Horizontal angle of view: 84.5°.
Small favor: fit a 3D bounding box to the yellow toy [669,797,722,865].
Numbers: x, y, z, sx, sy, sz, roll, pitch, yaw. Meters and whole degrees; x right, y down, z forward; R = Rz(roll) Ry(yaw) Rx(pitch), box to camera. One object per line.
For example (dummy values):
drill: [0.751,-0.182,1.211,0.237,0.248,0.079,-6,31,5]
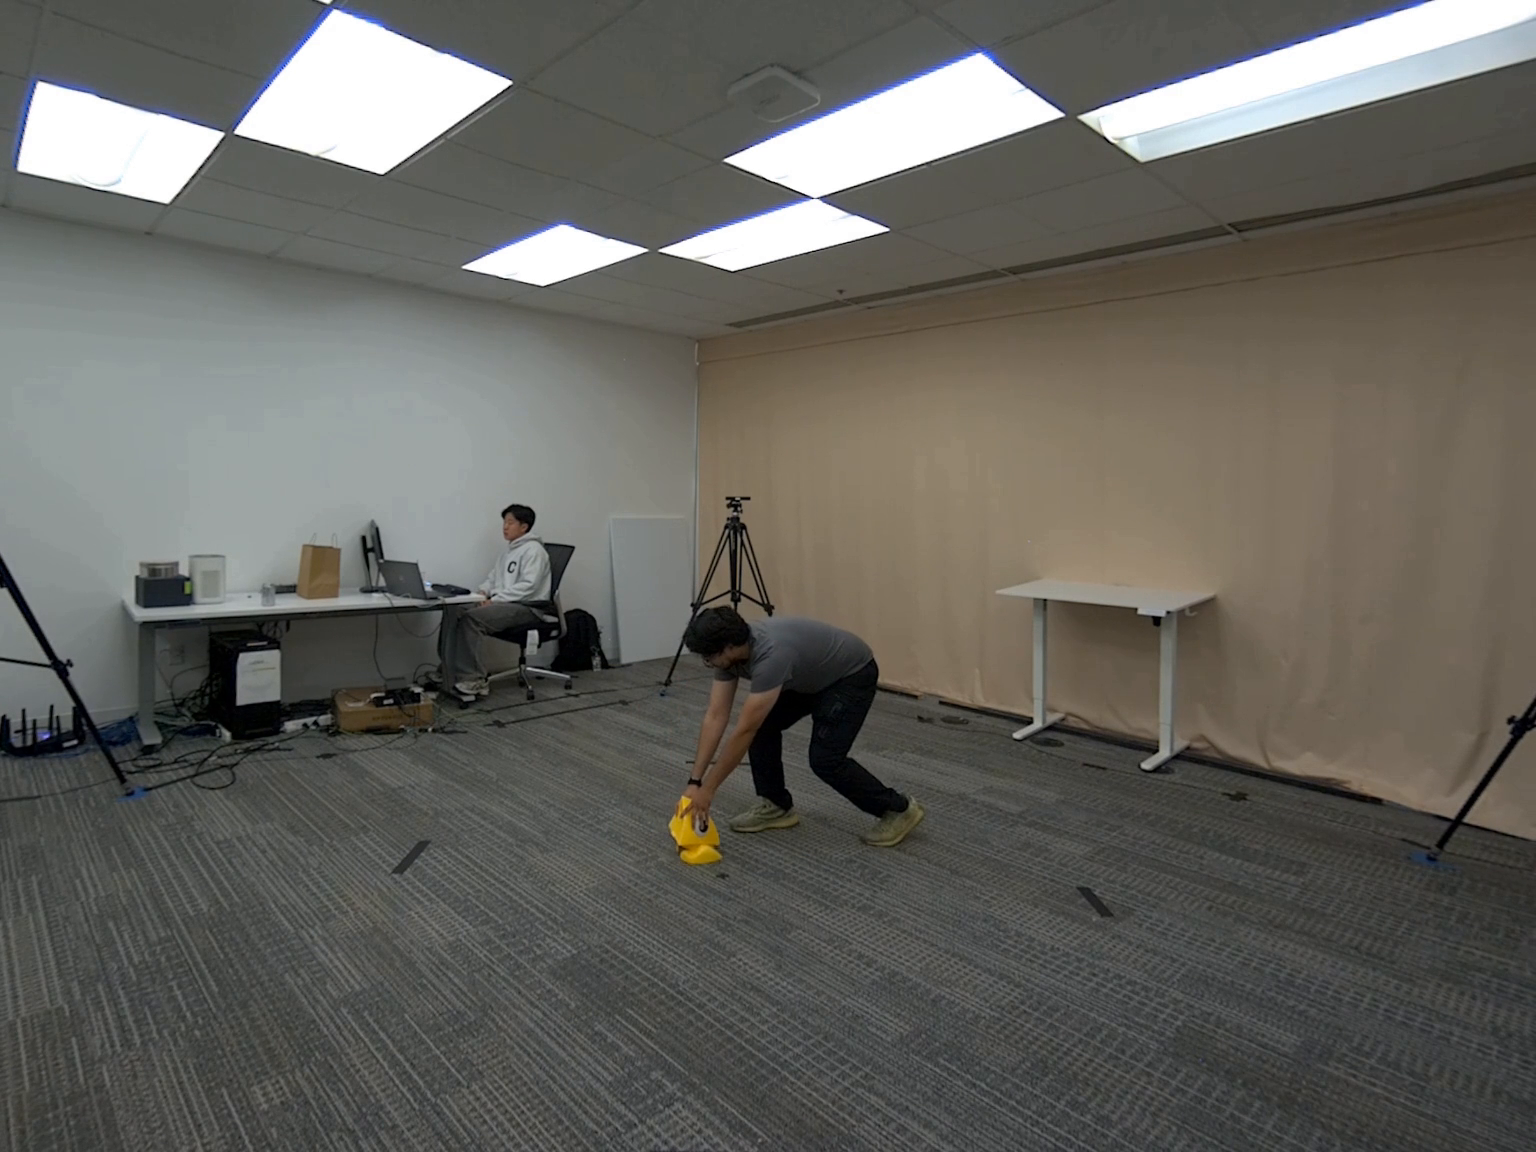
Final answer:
yellow toy: [-0.286,0.973,3.297,0.190,0.230,0.208,0,4,-17]
